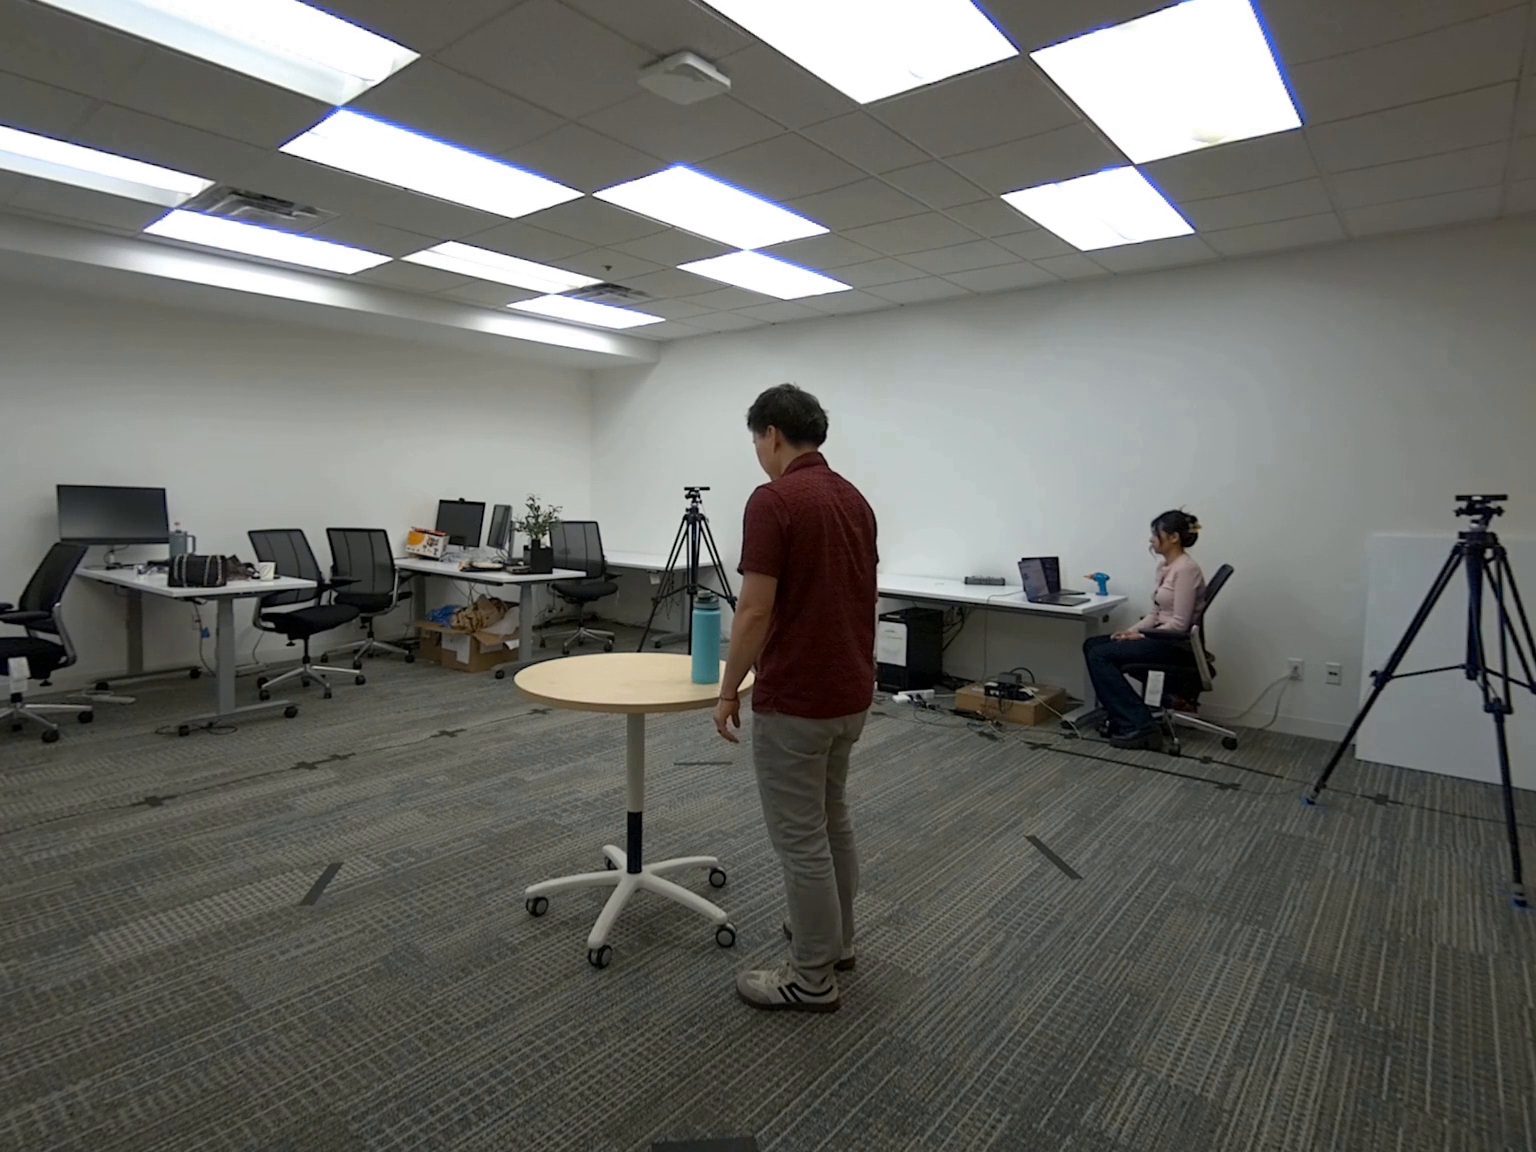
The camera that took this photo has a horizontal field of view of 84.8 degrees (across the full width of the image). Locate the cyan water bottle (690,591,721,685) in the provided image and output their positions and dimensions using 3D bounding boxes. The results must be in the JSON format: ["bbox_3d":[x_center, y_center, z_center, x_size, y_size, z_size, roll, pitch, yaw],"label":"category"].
[{"bbox_3d":[-0.206,0.189,2.652,0.092,0.283,0.092,0,1,-2],"label":"cyan water bottle"}]
